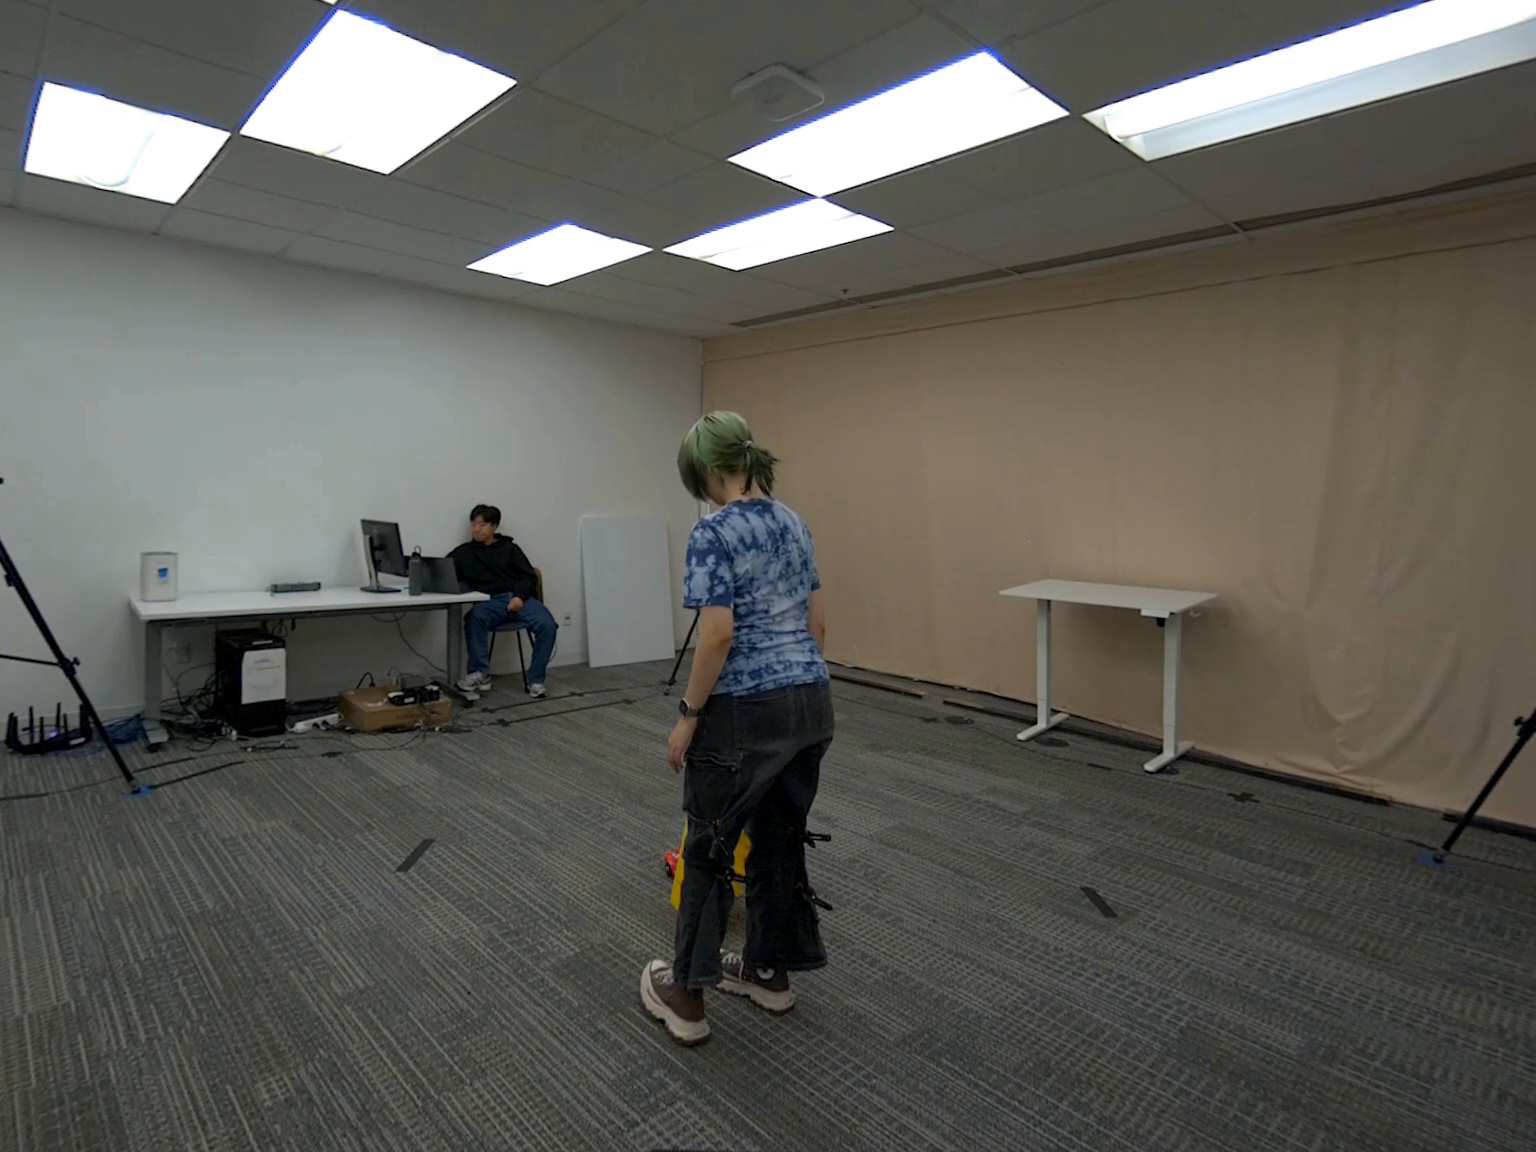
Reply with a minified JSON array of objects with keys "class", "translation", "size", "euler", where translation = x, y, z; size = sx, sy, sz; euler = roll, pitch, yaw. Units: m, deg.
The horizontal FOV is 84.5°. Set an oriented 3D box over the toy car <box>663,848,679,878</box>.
[{"class":"toy car","translation":[-0.301,1.080,3.066],"size":[0.128,0.082,0.262],"euler":[0,18,-27]}]
